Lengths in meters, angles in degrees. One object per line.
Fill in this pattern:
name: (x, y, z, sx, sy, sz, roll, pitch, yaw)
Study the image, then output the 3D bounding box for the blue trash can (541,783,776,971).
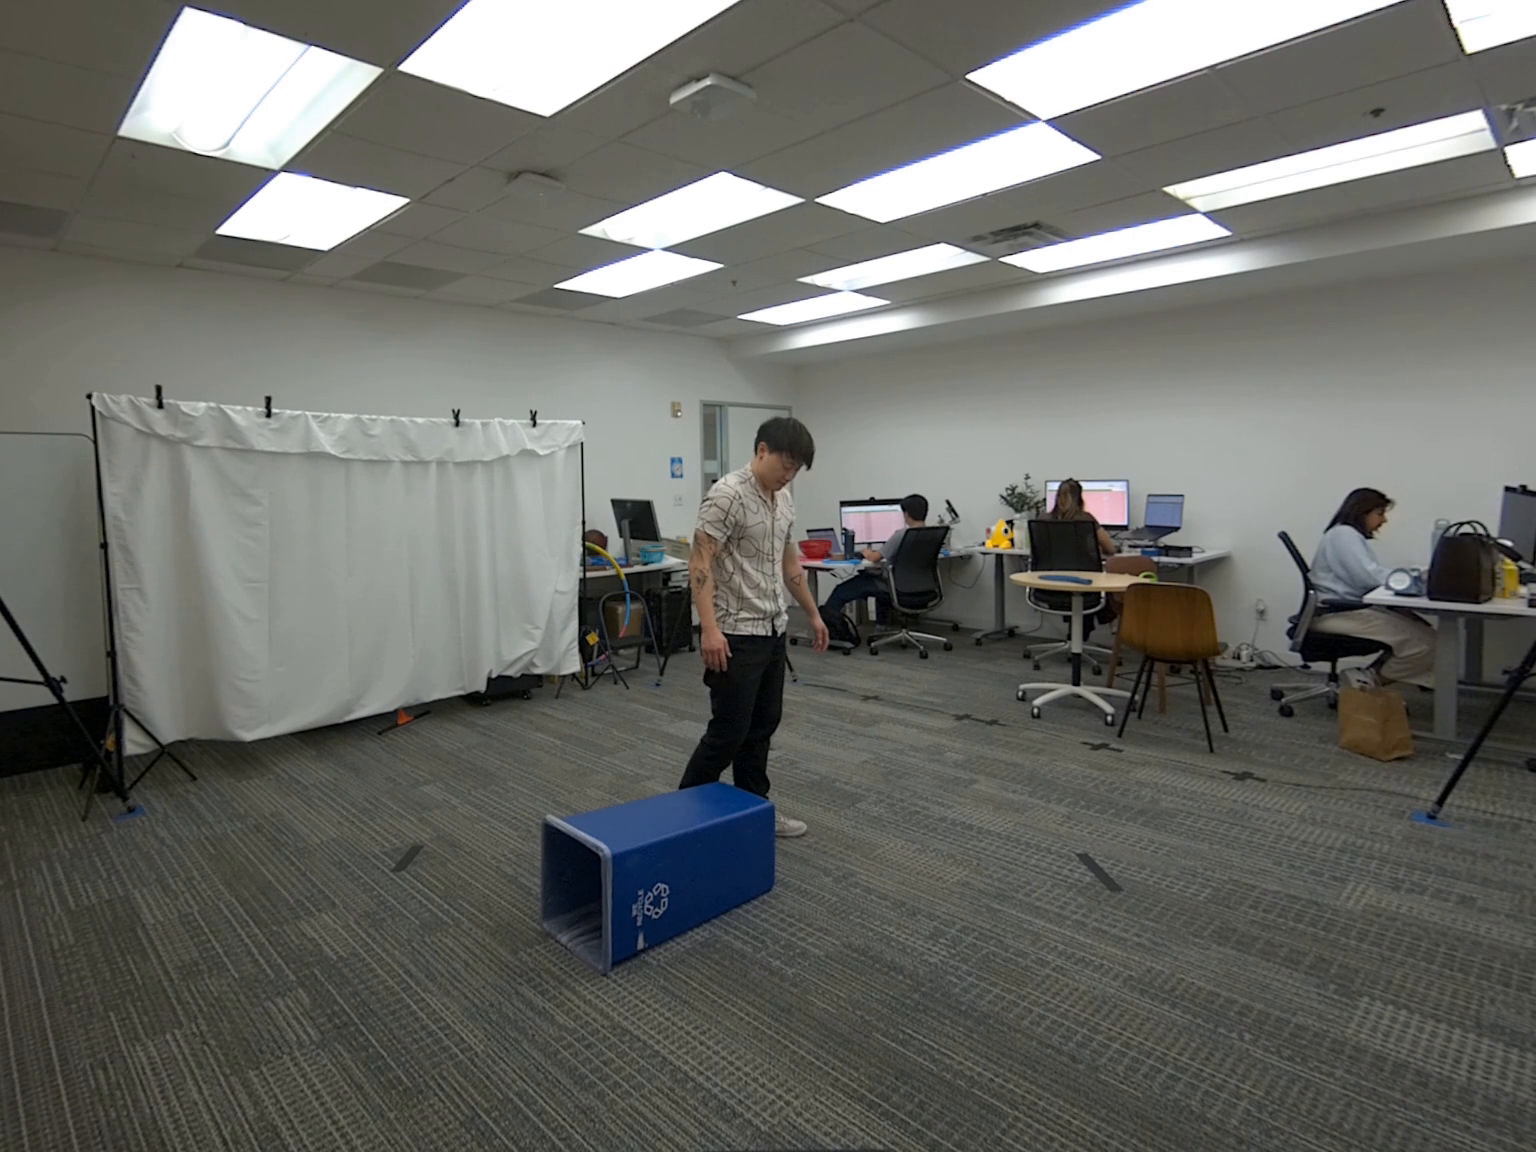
blue trash can: (-0.328, 0.917, 2.778, 0.694, 0.377, 0.385, -4, 6, -43)
